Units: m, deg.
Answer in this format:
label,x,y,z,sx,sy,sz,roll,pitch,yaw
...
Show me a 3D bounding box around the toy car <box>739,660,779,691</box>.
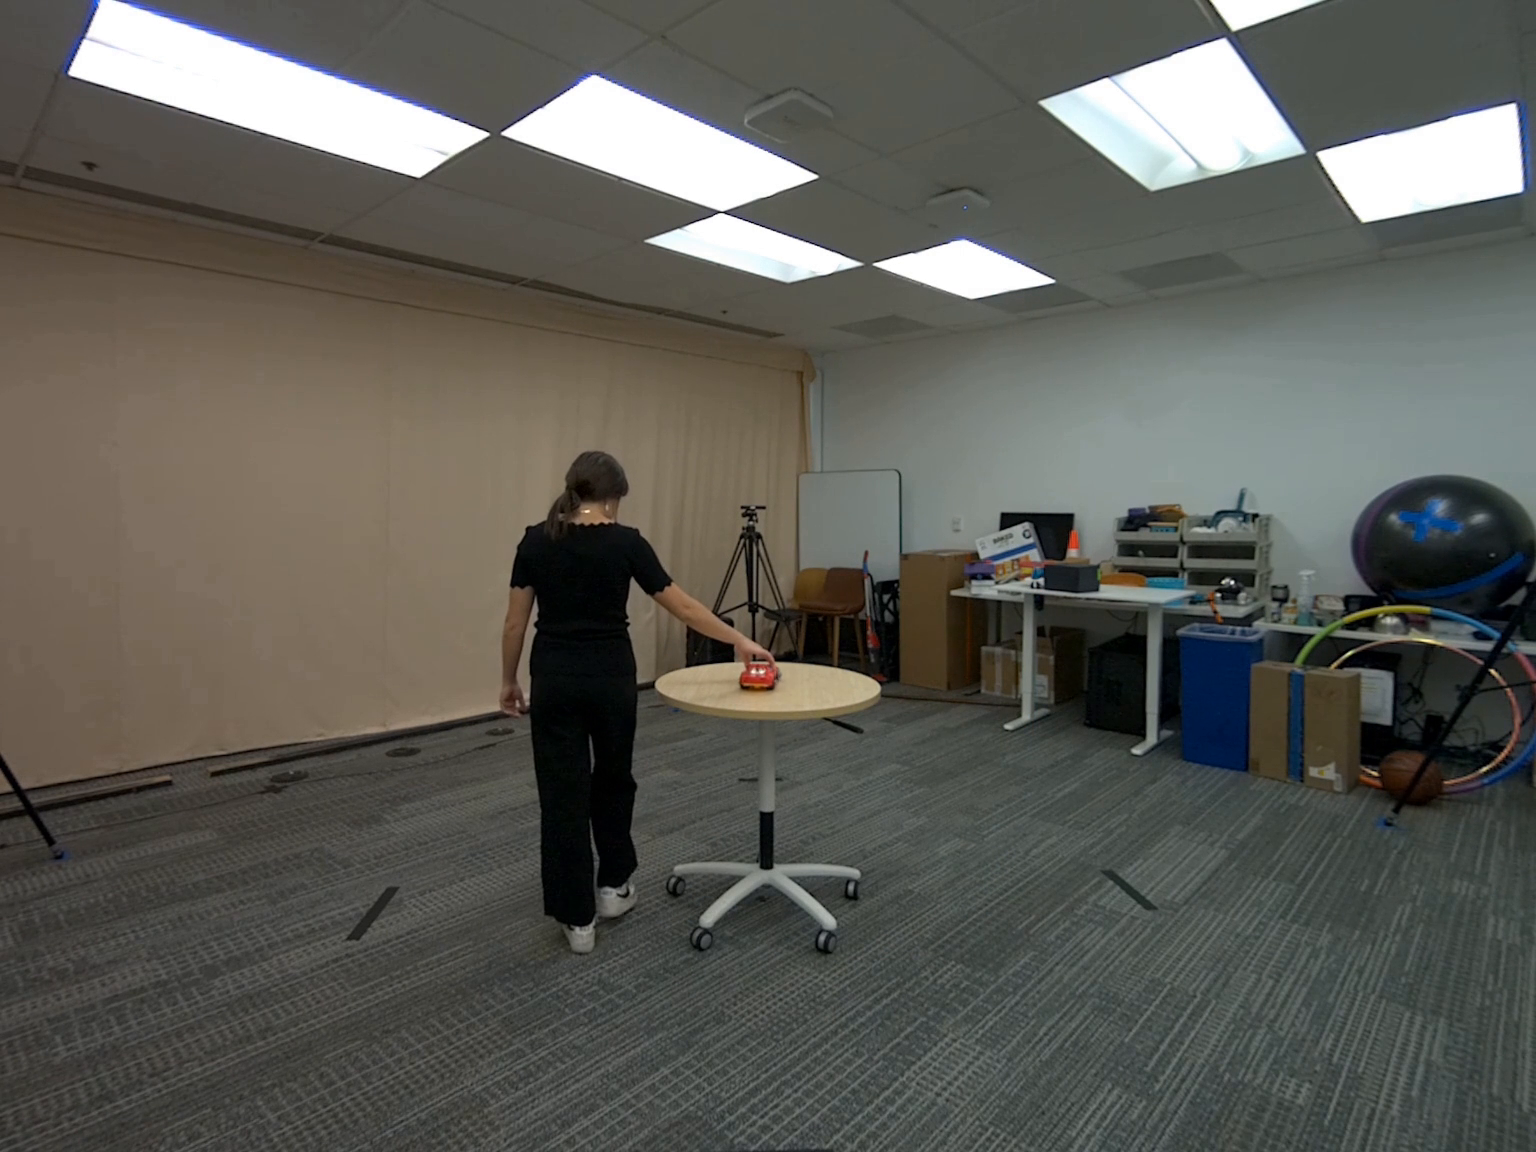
label,x,y,z,sx,sy,sz,roll,pitch,yaw
toy car,-0.026,0.340,2.843,0.131,0.083,0.252,2,-5,6
